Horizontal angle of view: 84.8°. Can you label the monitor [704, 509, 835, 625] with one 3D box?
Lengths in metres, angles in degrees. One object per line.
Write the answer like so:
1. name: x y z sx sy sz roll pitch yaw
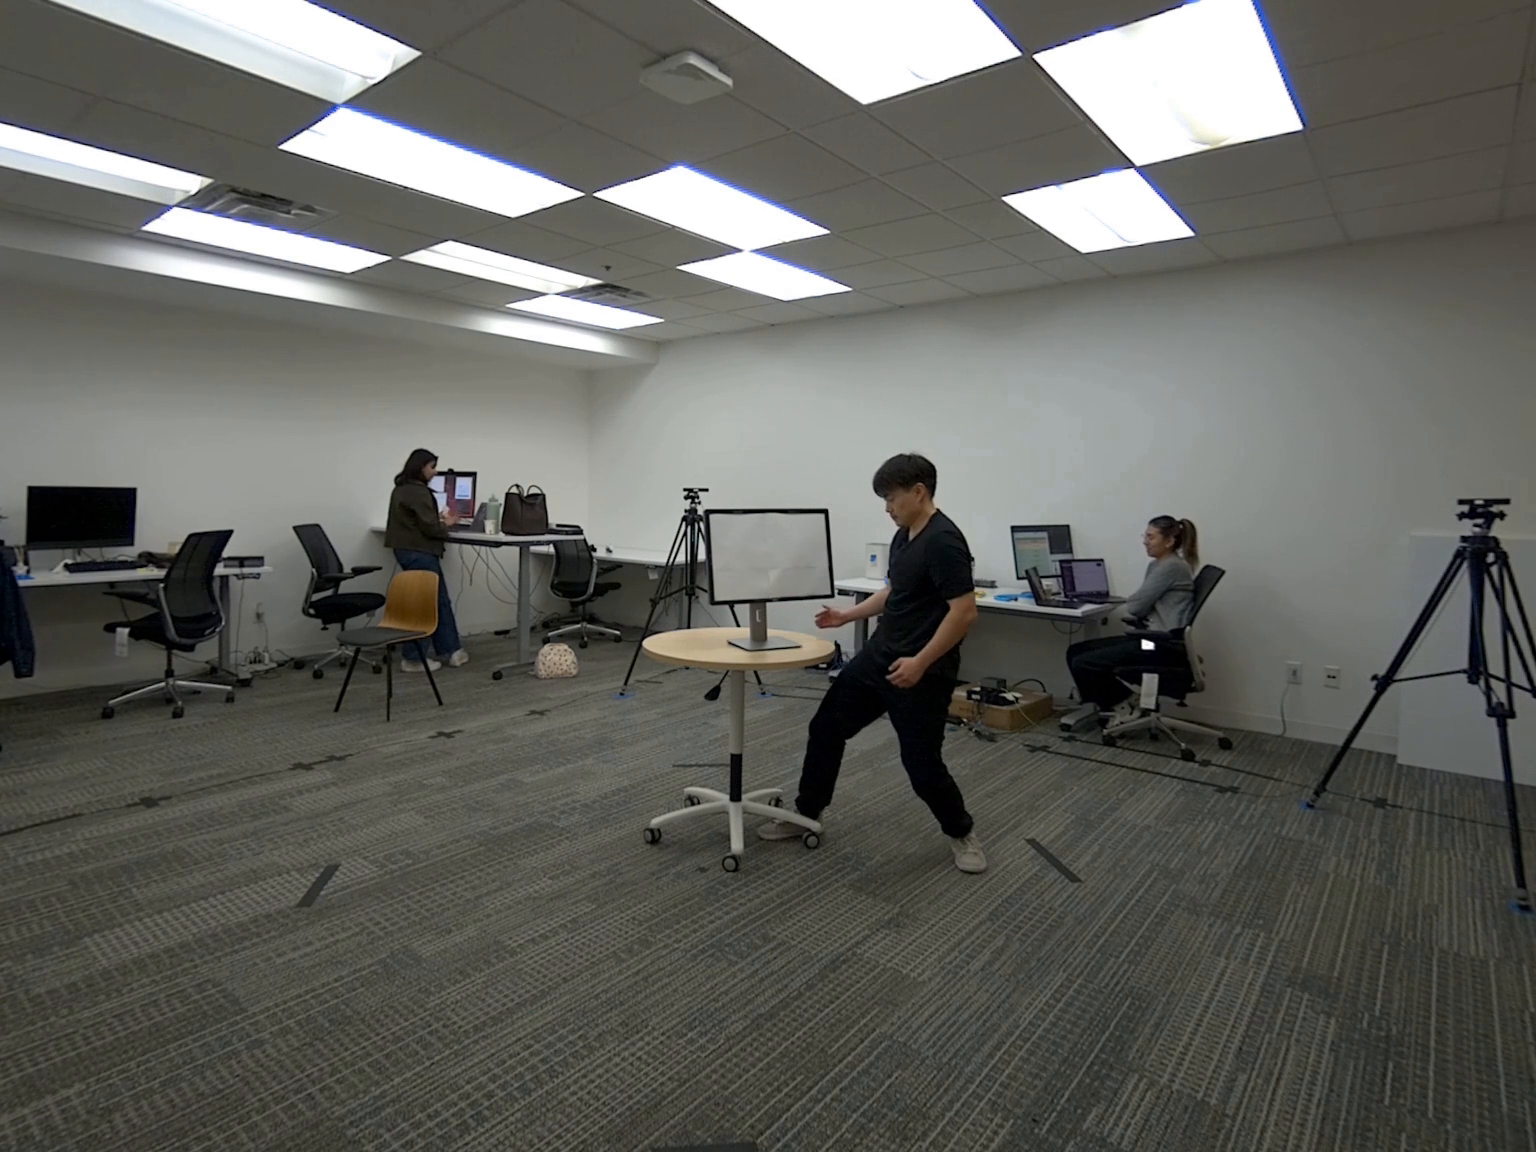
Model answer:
1. monitor: -0.021 0.006 3.361 0.525 0.520 0.193 -2 6 -29
